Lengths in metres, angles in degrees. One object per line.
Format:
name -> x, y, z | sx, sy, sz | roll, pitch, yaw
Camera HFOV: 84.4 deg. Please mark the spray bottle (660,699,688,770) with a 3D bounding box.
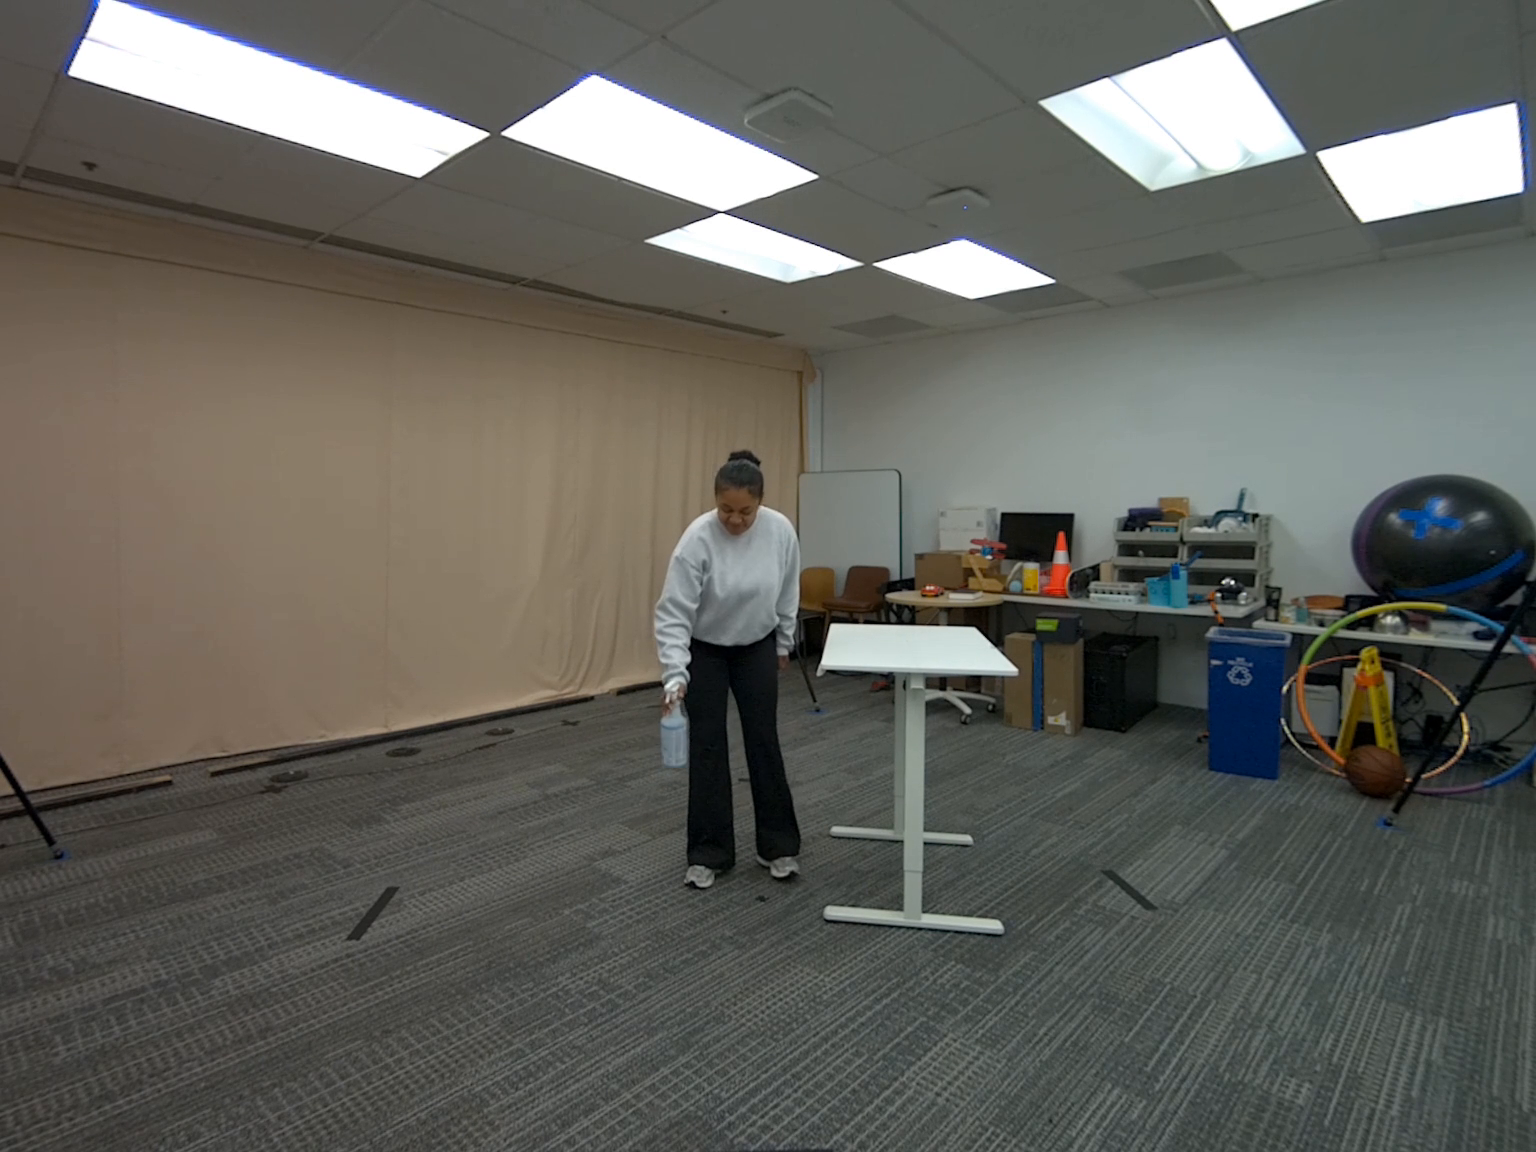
spray bottle -> -0.307, 0.488, 2.795 | 0.087, 0.295, 0.090 | -12, 16, -42
